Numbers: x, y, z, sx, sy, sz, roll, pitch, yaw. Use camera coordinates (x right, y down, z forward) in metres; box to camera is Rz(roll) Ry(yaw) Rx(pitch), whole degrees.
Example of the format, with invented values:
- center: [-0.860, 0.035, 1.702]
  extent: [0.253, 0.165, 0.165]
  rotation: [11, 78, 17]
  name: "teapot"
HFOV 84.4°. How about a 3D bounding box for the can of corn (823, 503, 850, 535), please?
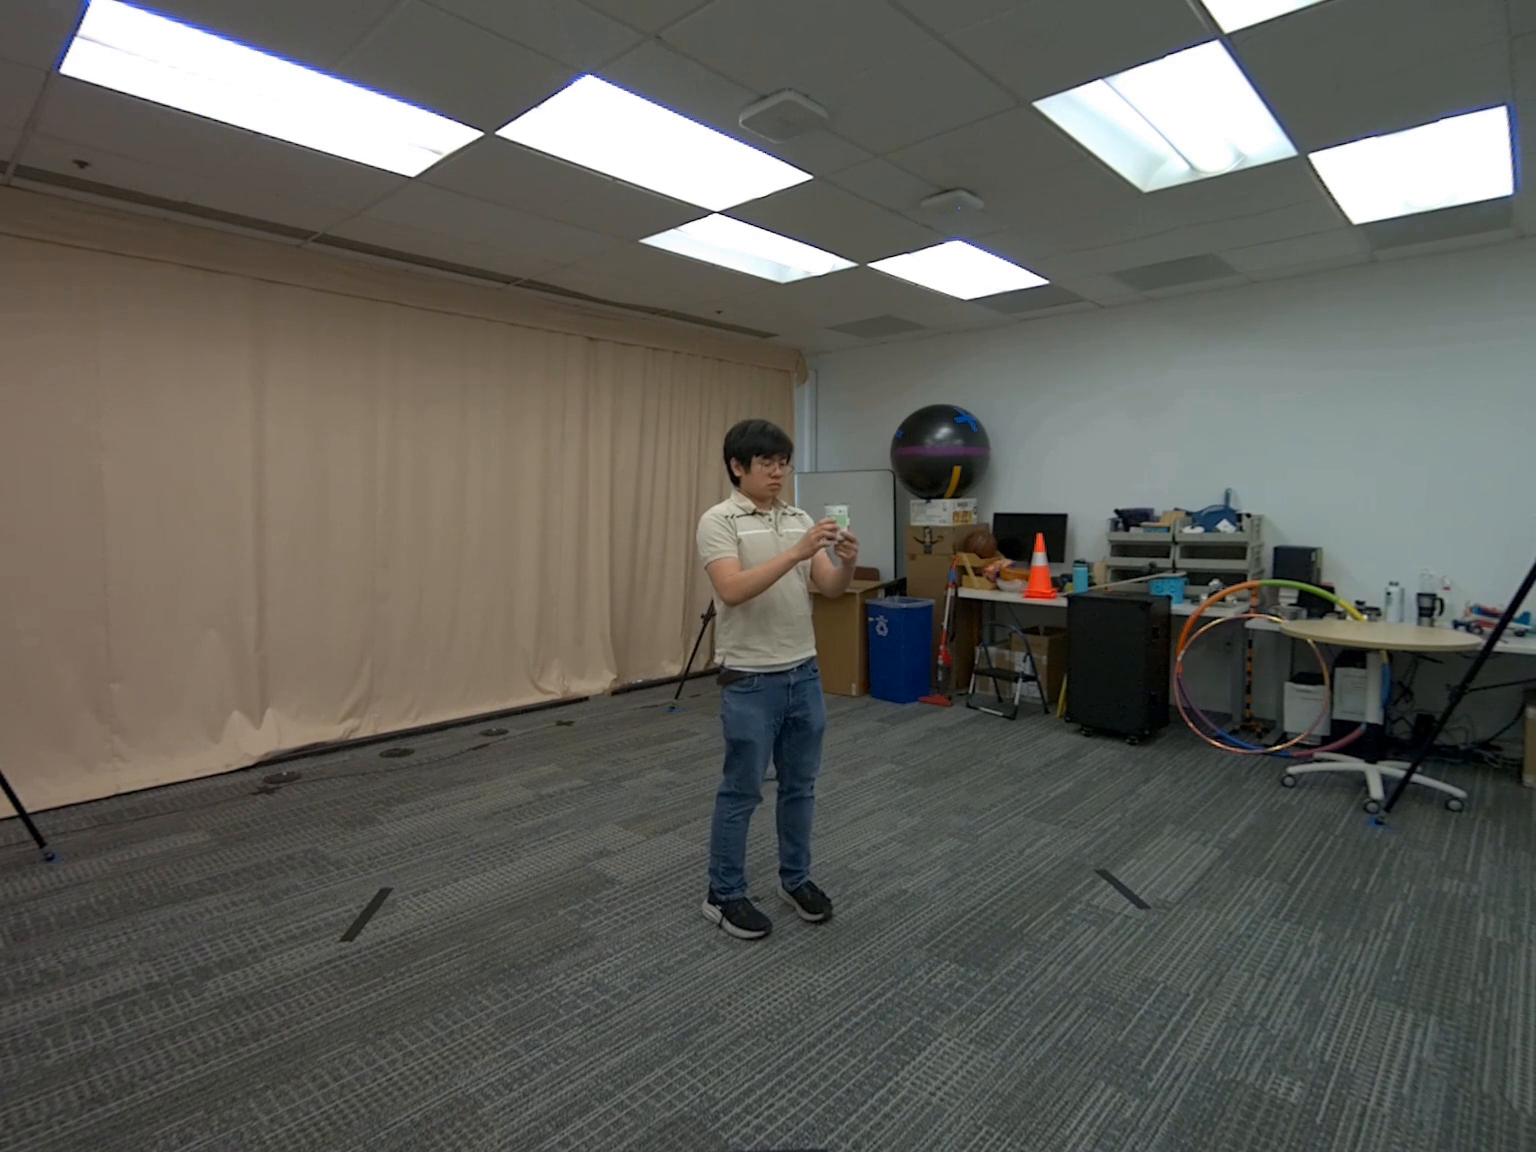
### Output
- center: [0.218, -0.165, 2.561]
  extent: [0.074, 0.111, 0.074]
  rotation: [-1, 0, -2]
  name: "can of corn"
